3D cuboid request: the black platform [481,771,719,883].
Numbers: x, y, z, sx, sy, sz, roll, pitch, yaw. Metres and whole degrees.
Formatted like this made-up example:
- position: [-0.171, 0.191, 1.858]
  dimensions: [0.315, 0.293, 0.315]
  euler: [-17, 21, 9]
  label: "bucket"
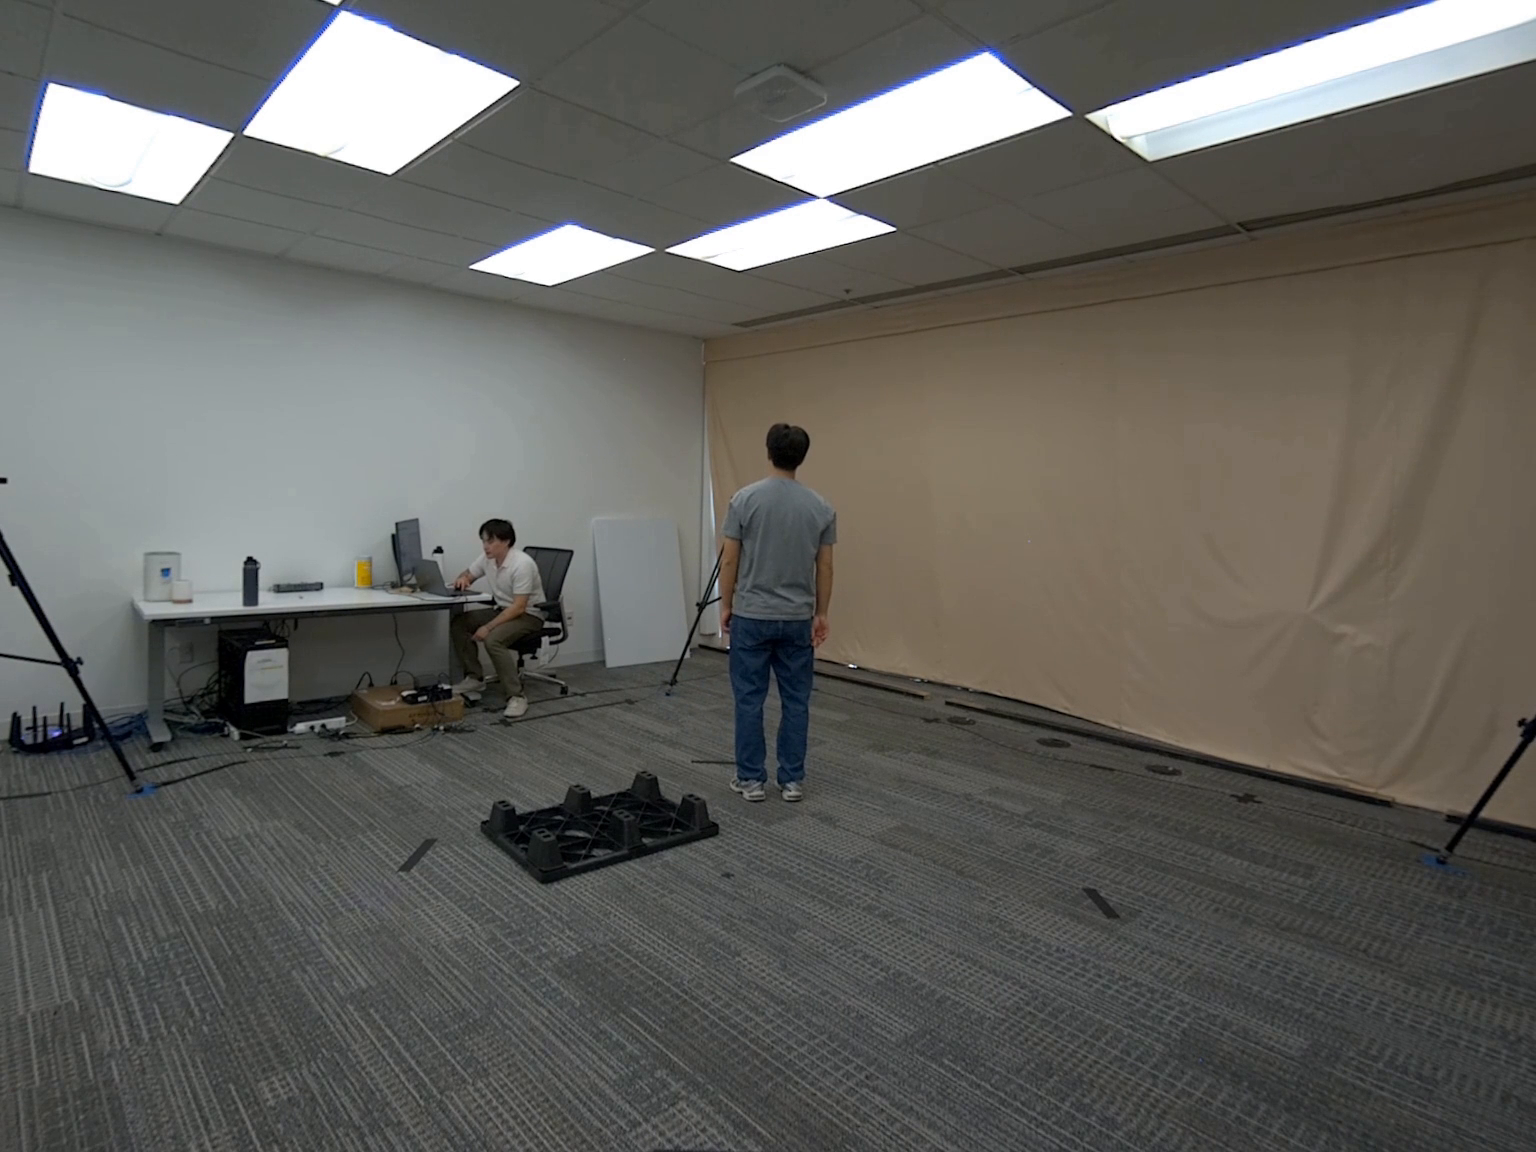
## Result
- position: [-0.697, 0.995, 3.463]
  dimensions: [0.787, 0.143, 0.620]
  euler: [-3, 6, -39]
  label: "black platform"
